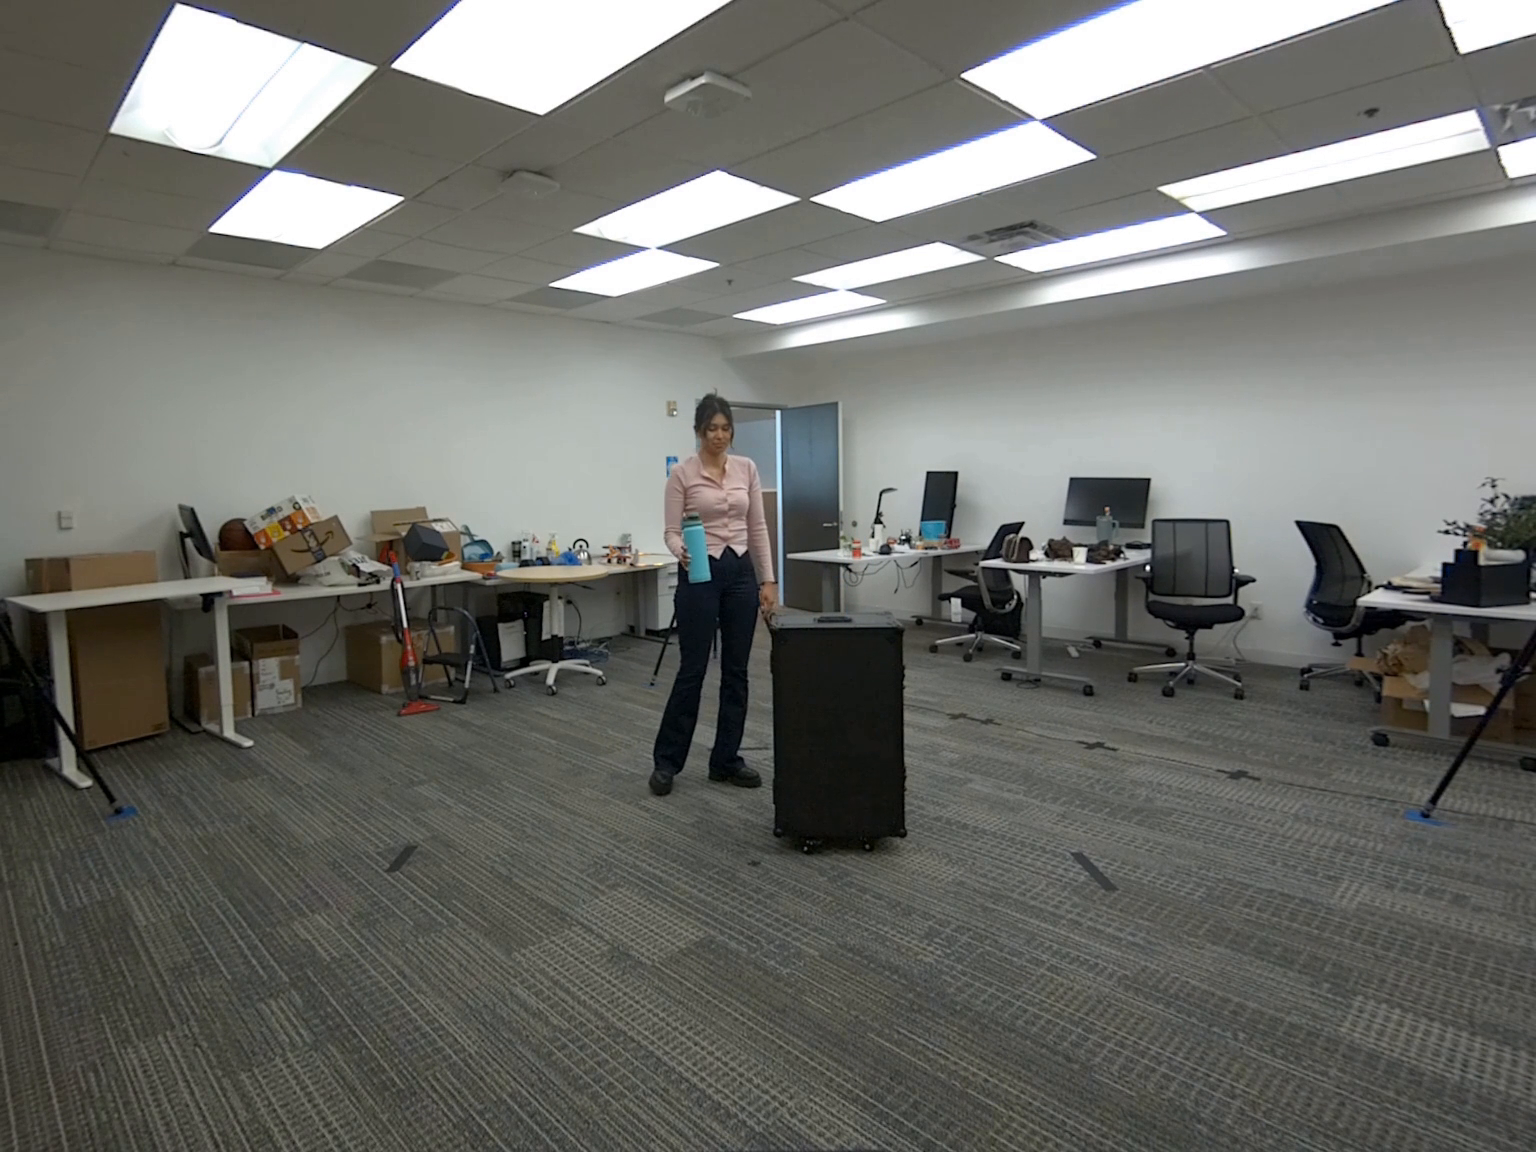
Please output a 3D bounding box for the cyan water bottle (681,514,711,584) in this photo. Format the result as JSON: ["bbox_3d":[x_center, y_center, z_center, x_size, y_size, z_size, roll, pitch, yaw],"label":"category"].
[{"bbox_3d":[-0.307,-0.117,3.516,0.092,0.284,0.092,-8,-3,-2],"label":"cyan water bottle"}]
